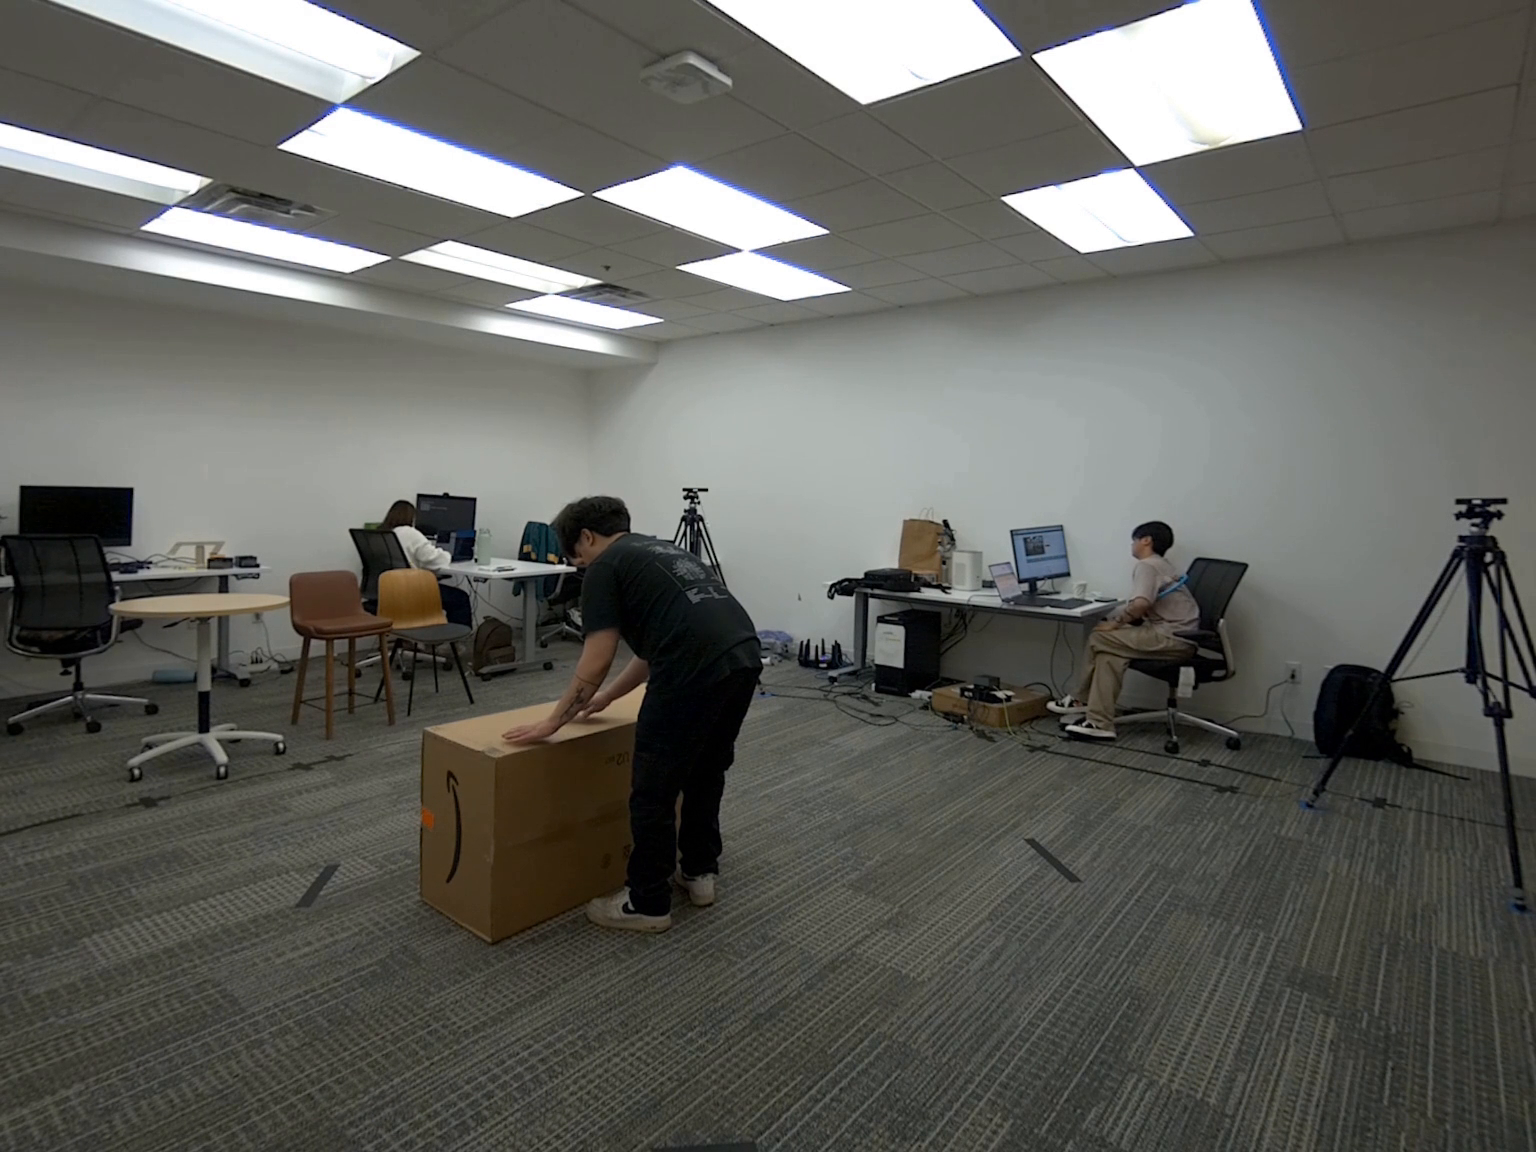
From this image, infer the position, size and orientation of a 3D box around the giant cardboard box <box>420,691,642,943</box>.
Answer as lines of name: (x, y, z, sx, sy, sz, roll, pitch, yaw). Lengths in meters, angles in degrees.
giant cardboard box: (-0.690, 0.780, 3.071, 0.461, 0.582, 0.996, 3, 4, 39)
